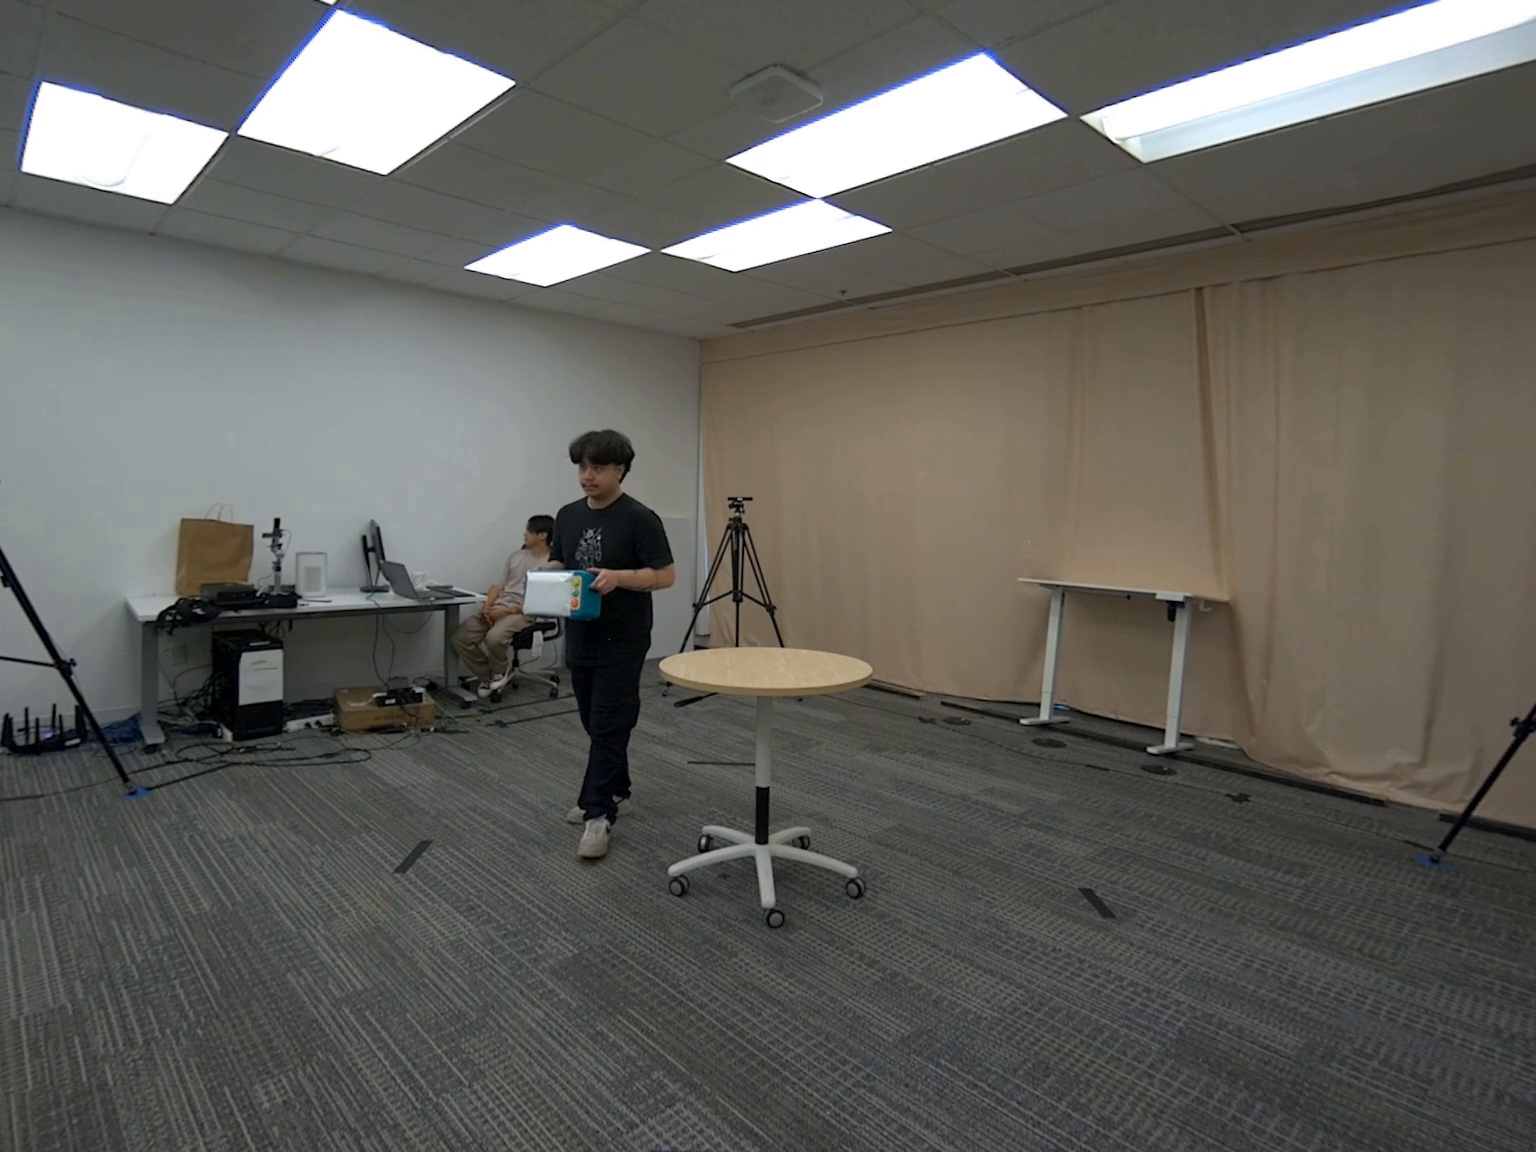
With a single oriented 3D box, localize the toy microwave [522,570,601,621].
[{"bbox_3d":[-0.799,0.072,3.231,0.291,0.185,0.149,1,-5,24],"label":"toy microwave"}]
